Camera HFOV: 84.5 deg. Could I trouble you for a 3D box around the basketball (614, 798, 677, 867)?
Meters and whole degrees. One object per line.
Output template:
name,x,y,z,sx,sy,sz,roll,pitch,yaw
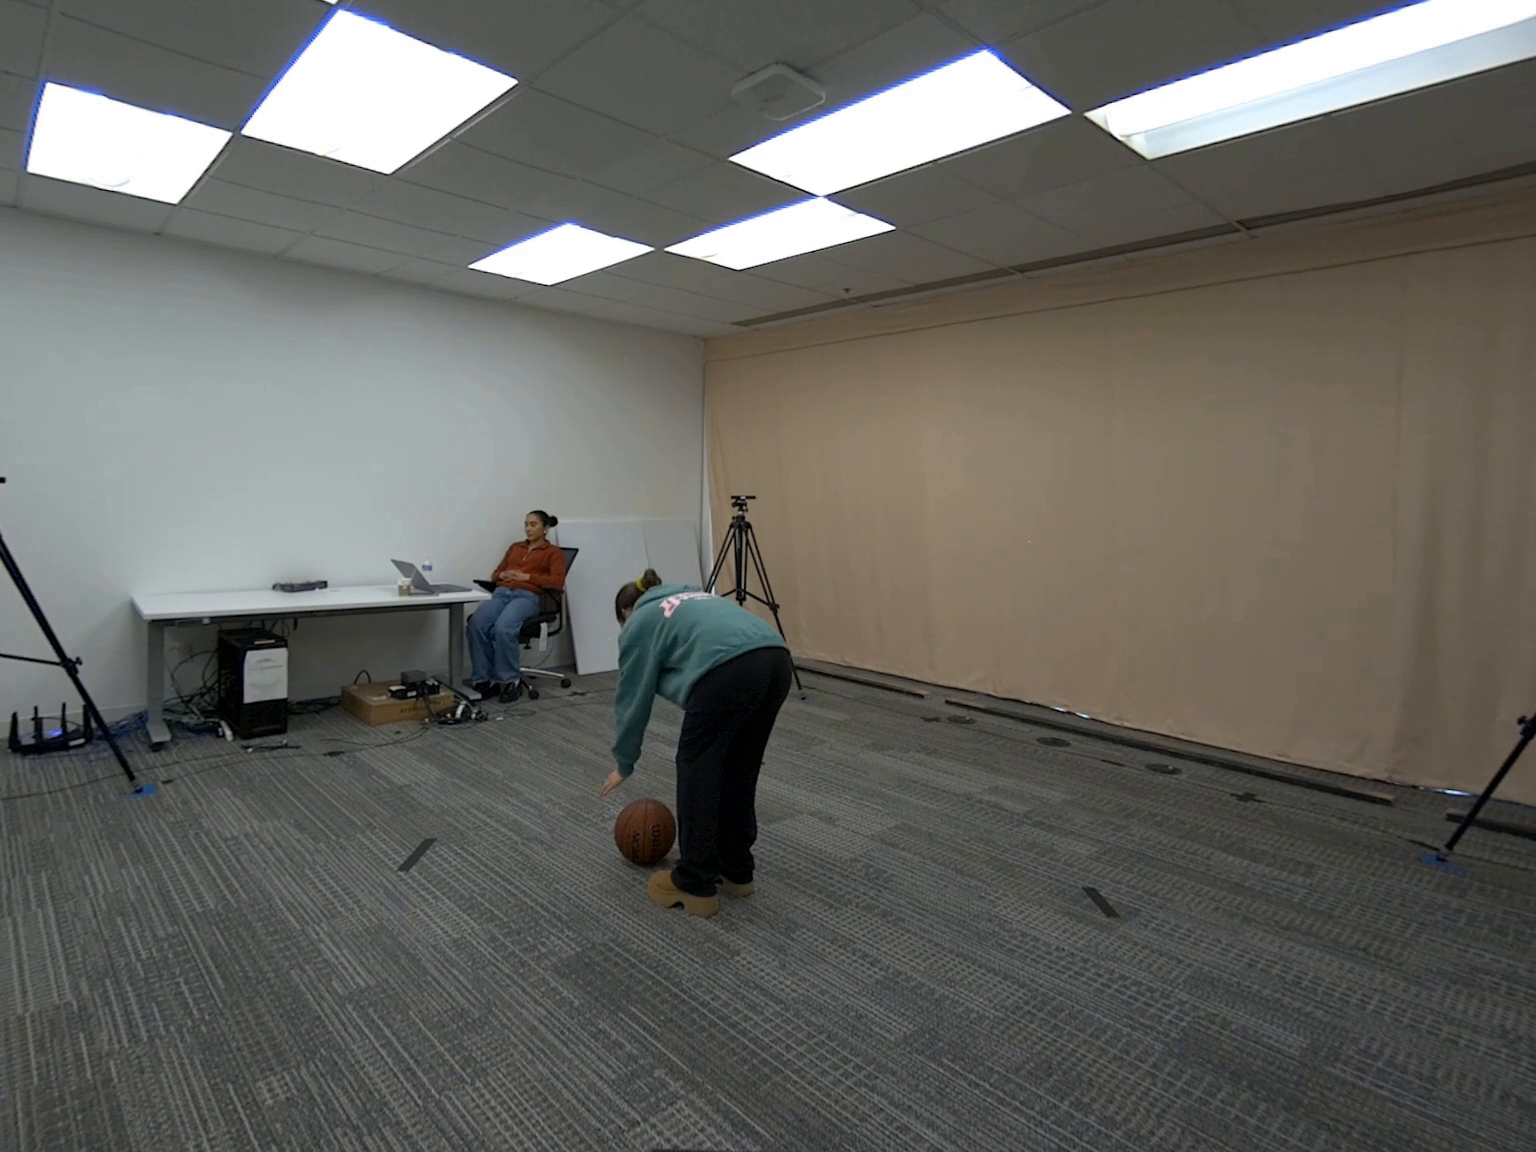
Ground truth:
basketball,-0.474,0.969,3.197,0.236,0.235,0.237,1,4,-1
